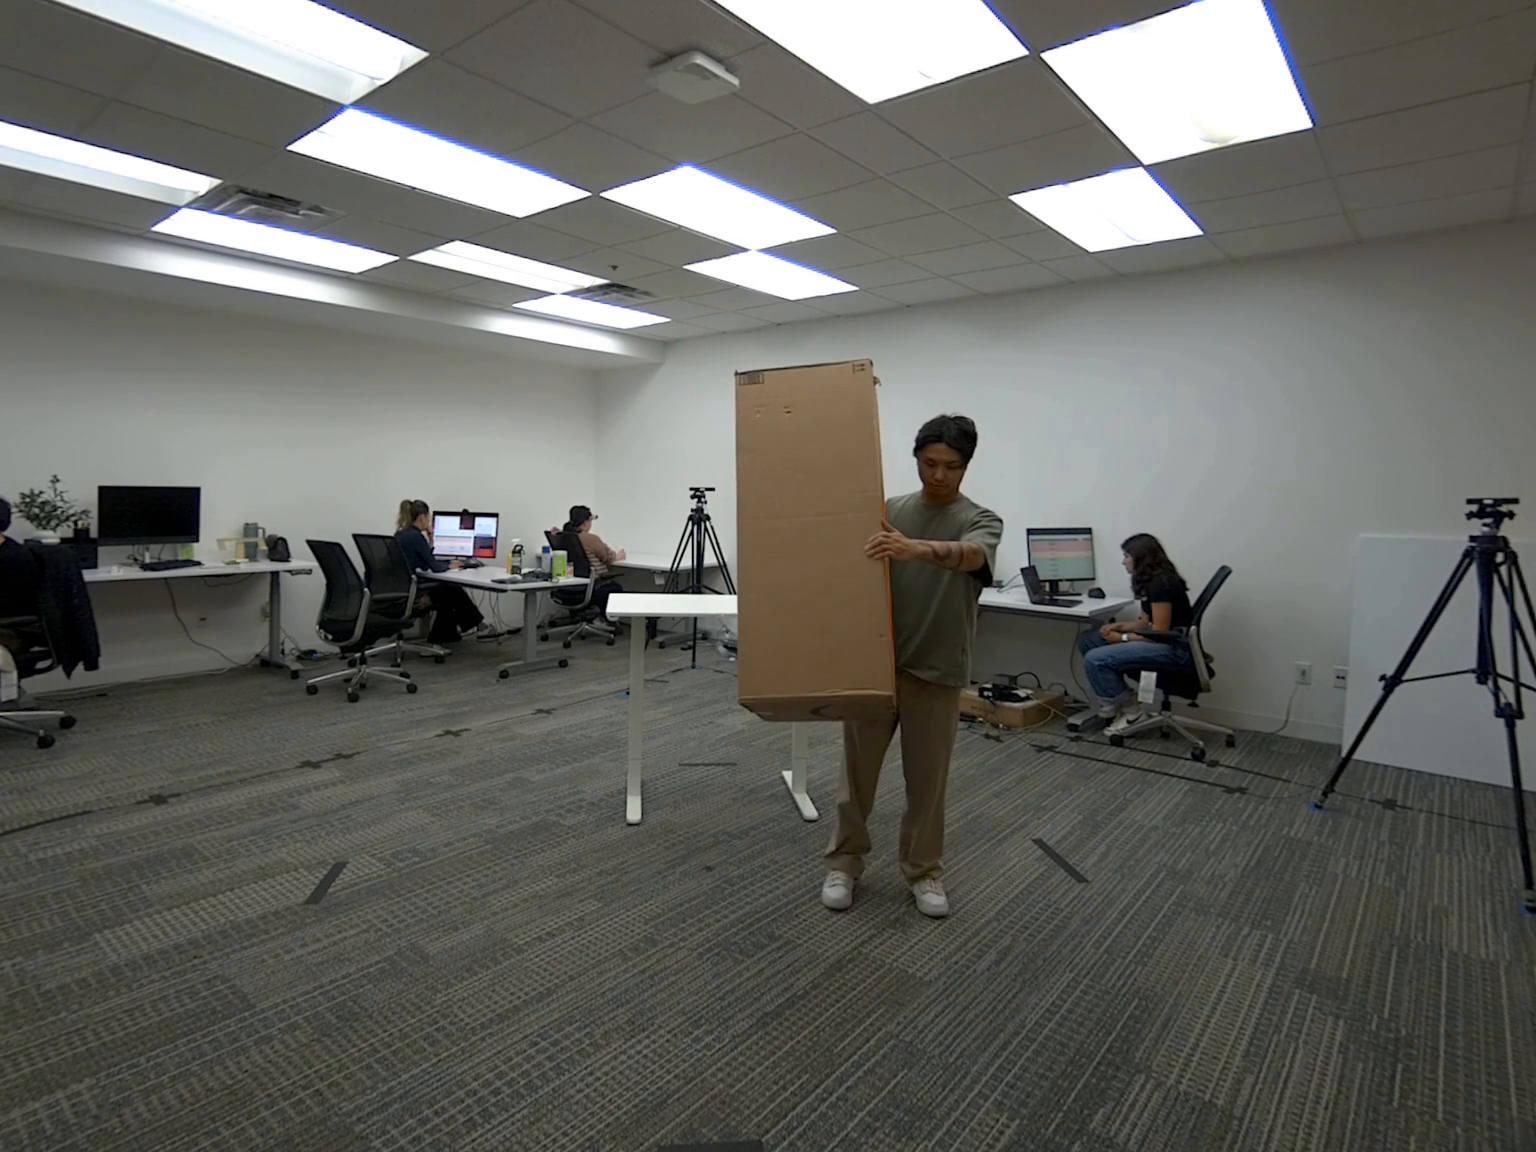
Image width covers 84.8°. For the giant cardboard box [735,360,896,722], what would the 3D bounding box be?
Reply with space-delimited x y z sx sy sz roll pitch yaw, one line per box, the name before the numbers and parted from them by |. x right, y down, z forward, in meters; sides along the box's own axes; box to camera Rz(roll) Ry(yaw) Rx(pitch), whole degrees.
giant cardboard box | 0.143 -0.086 2.715 0.430 1.043 0.562 -3 -18 8
